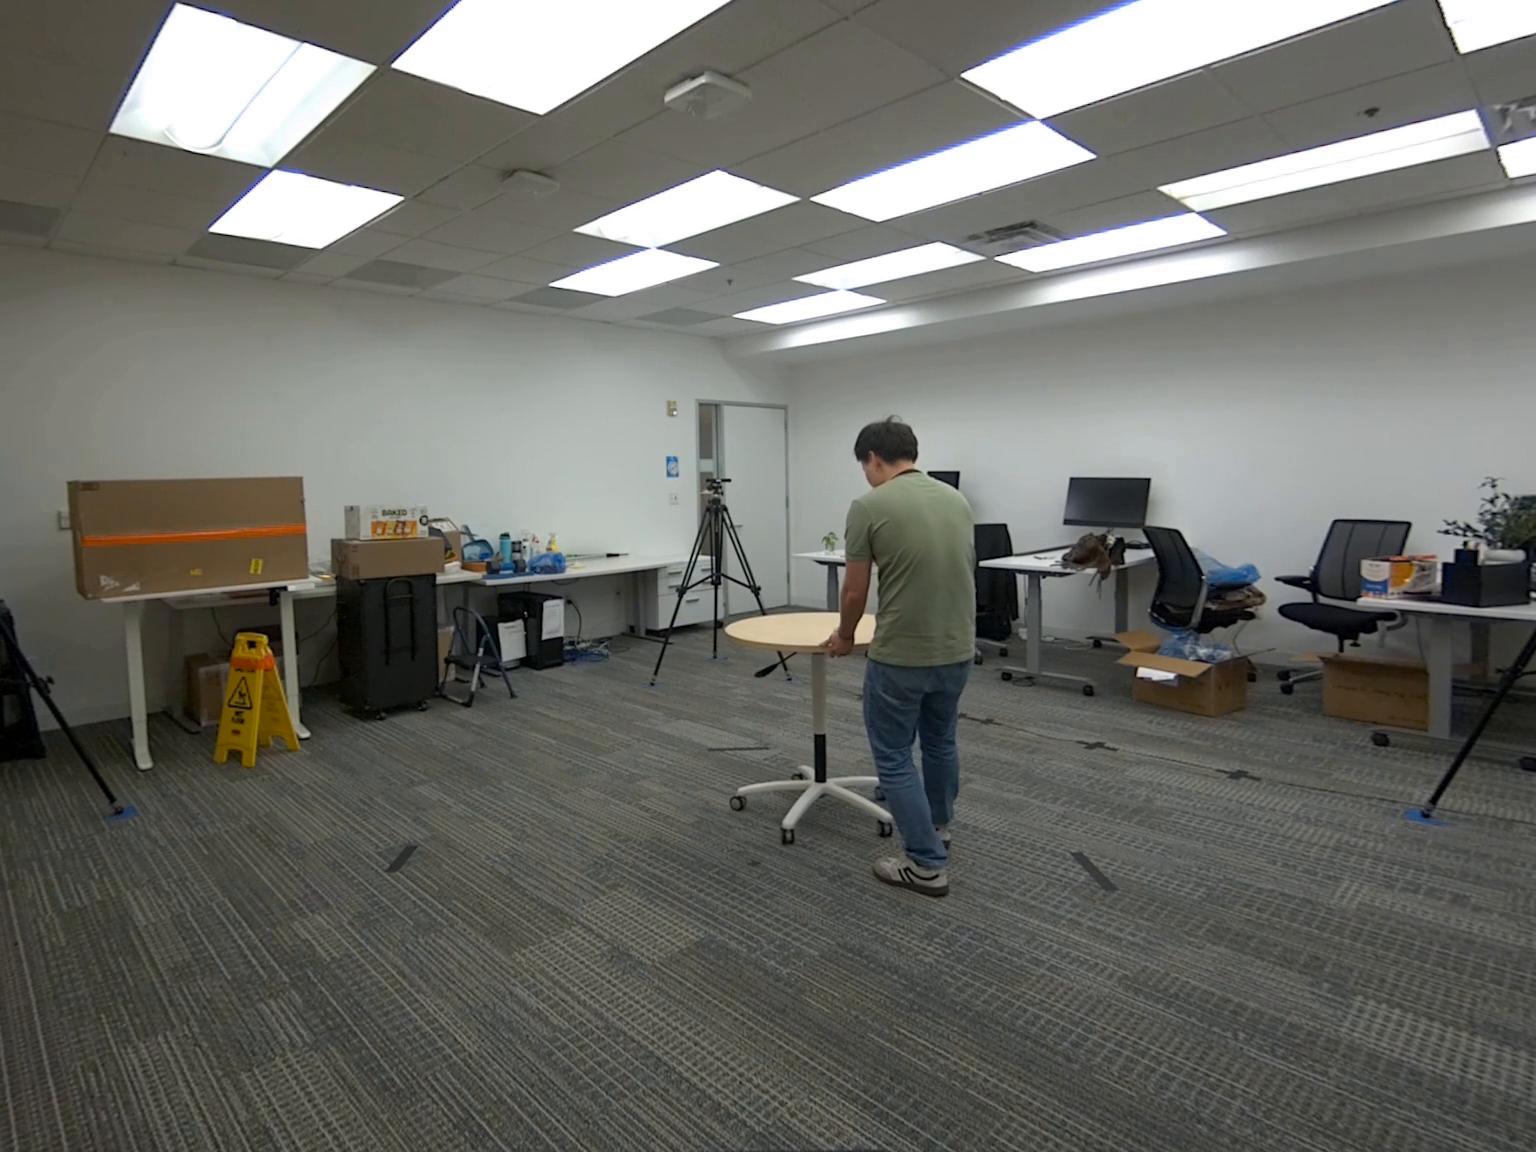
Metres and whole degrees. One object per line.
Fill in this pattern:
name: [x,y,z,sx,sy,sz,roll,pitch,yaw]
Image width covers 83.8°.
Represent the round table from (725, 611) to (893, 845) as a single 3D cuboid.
round table: [0.215,0.603,3.532,0.763,0.791,0.768,-1,5,-2]
